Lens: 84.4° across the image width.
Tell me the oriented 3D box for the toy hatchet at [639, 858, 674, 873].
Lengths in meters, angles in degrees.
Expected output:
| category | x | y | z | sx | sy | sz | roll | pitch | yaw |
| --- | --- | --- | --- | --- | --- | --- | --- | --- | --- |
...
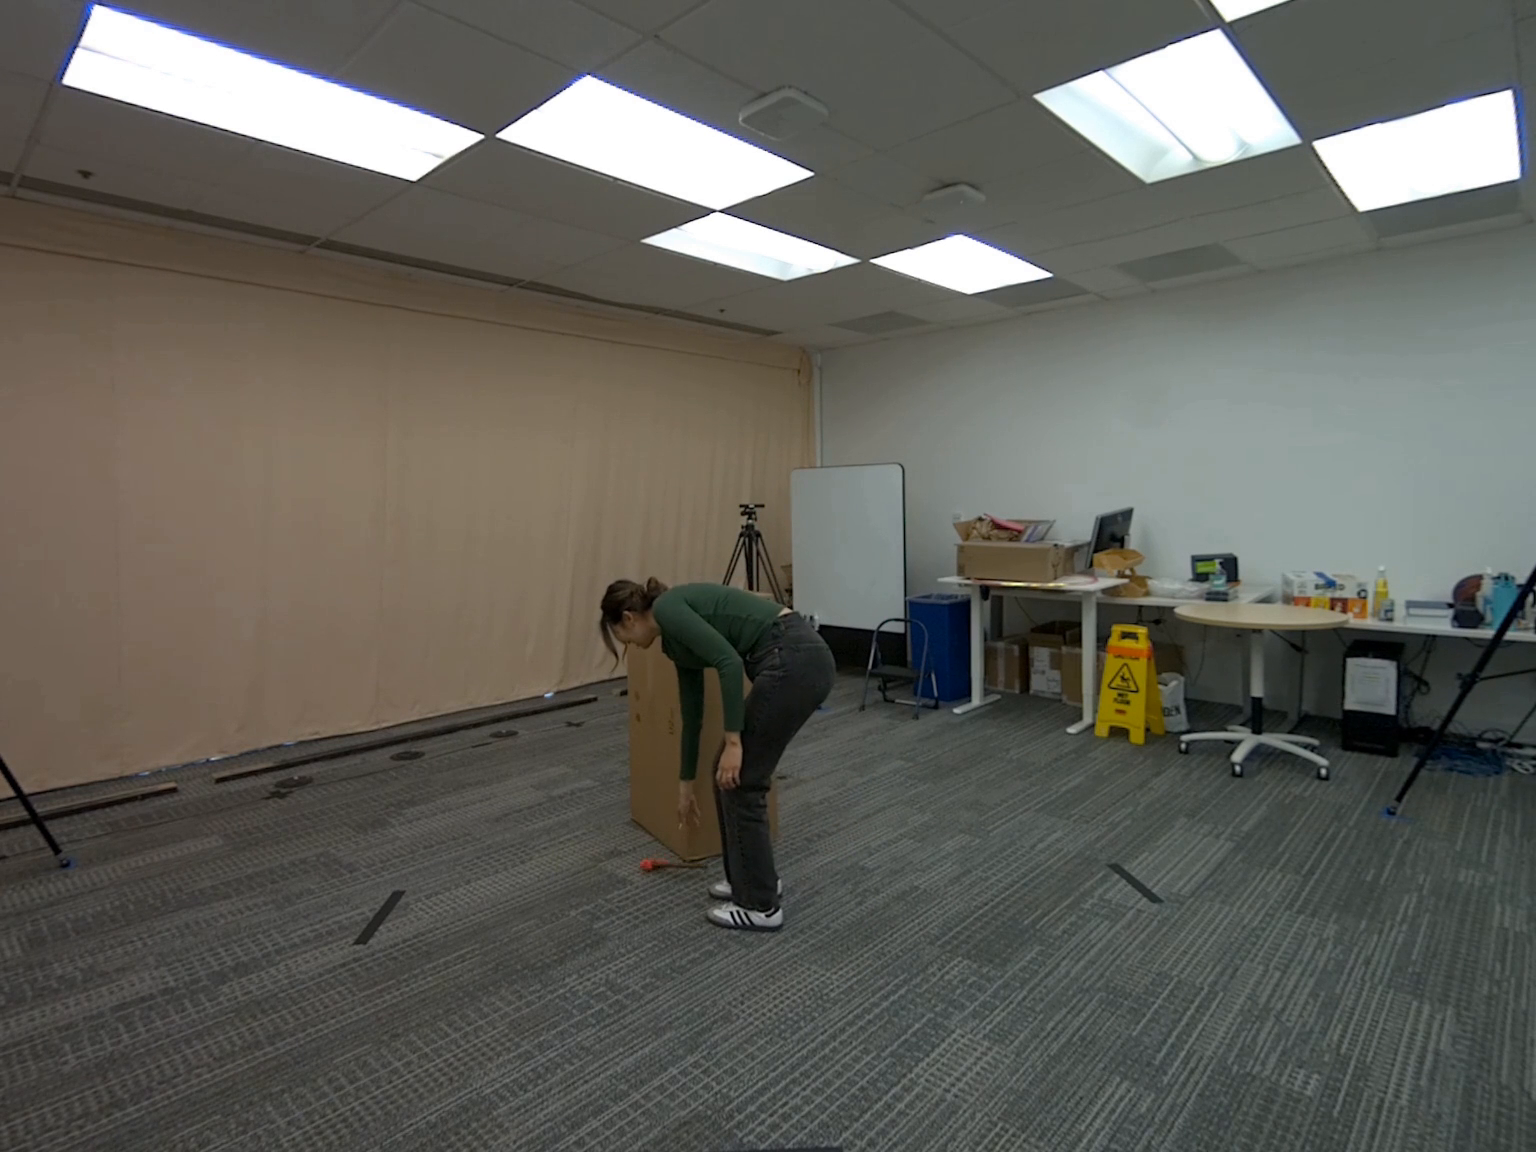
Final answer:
| category | x | y | z | sx | sy | sz | roll | pitch | yaw |
| --- | --- | --- | --- | --- | --- | --- | --- | --- | --- |
| toy hatchet | -0.355 | 1.068 | 3.204 | 0.273 | 0.030 | 0.129 | -5 | -4 | 11 |
